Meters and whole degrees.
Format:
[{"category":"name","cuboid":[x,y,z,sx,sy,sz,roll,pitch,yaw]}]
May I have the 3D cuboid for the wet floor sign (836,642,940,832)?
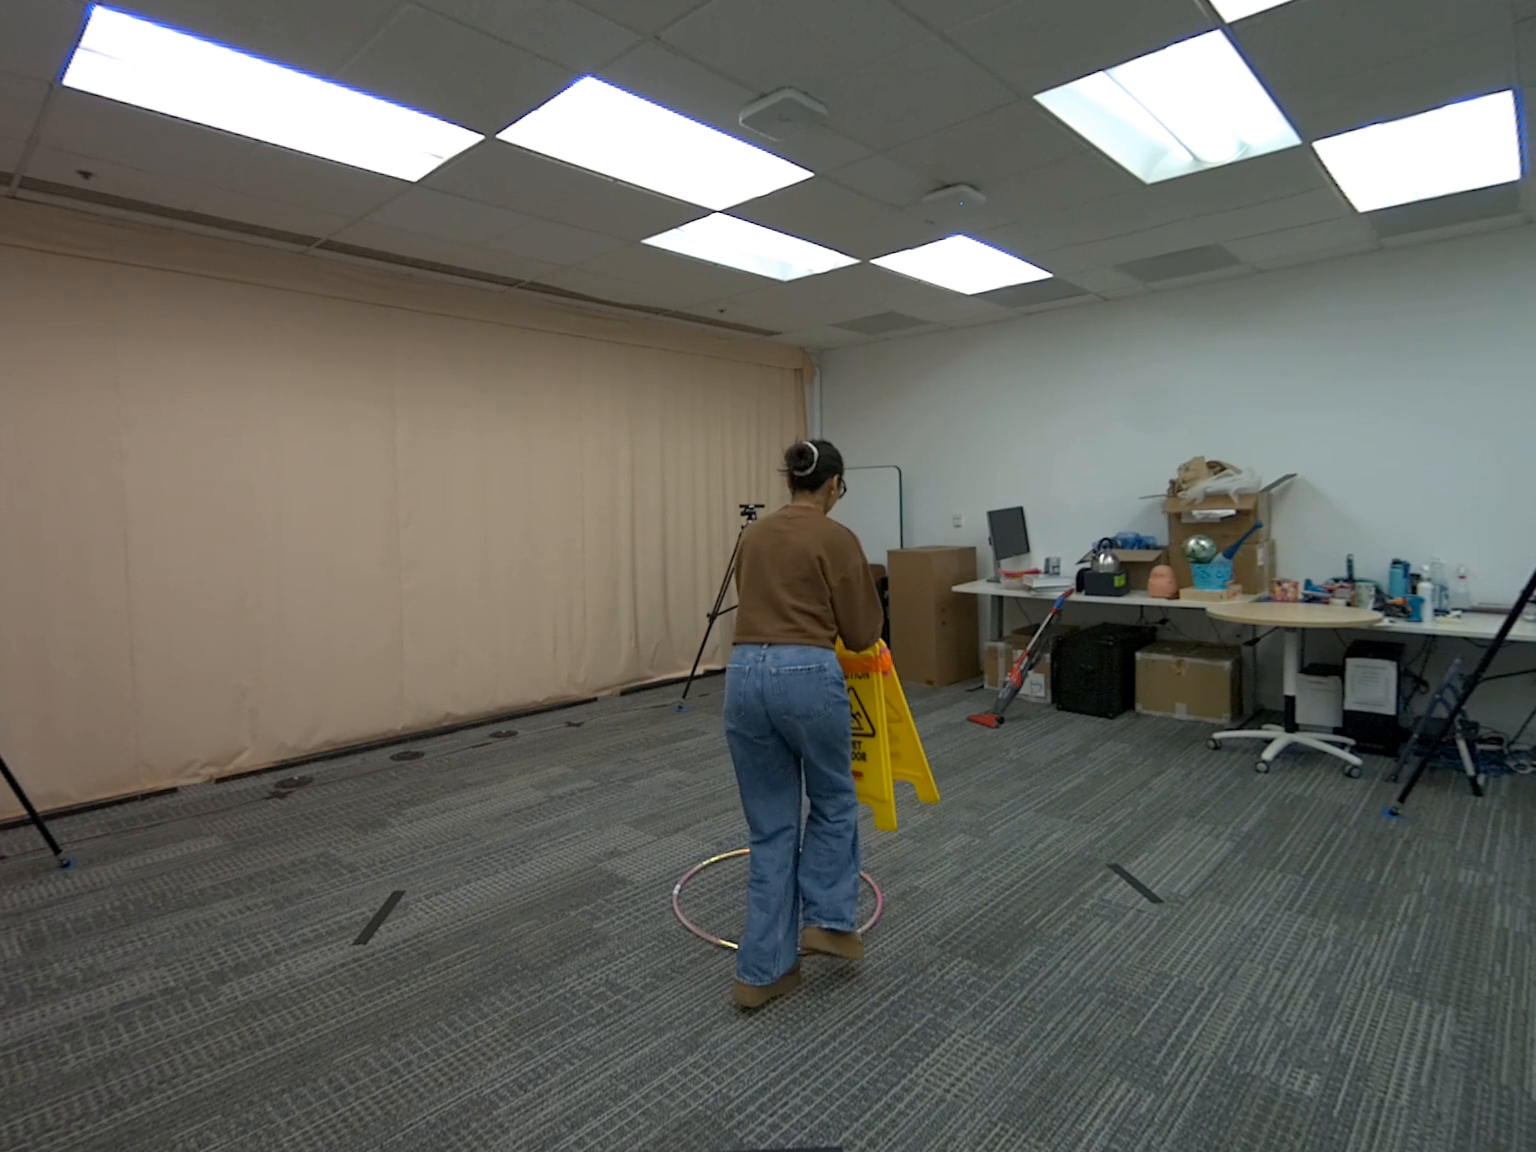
[{"category":"wet floor sign","cuboid":[0.330,0.475,2.784,0.290,0.646,0.281,-9,0,44]}]
